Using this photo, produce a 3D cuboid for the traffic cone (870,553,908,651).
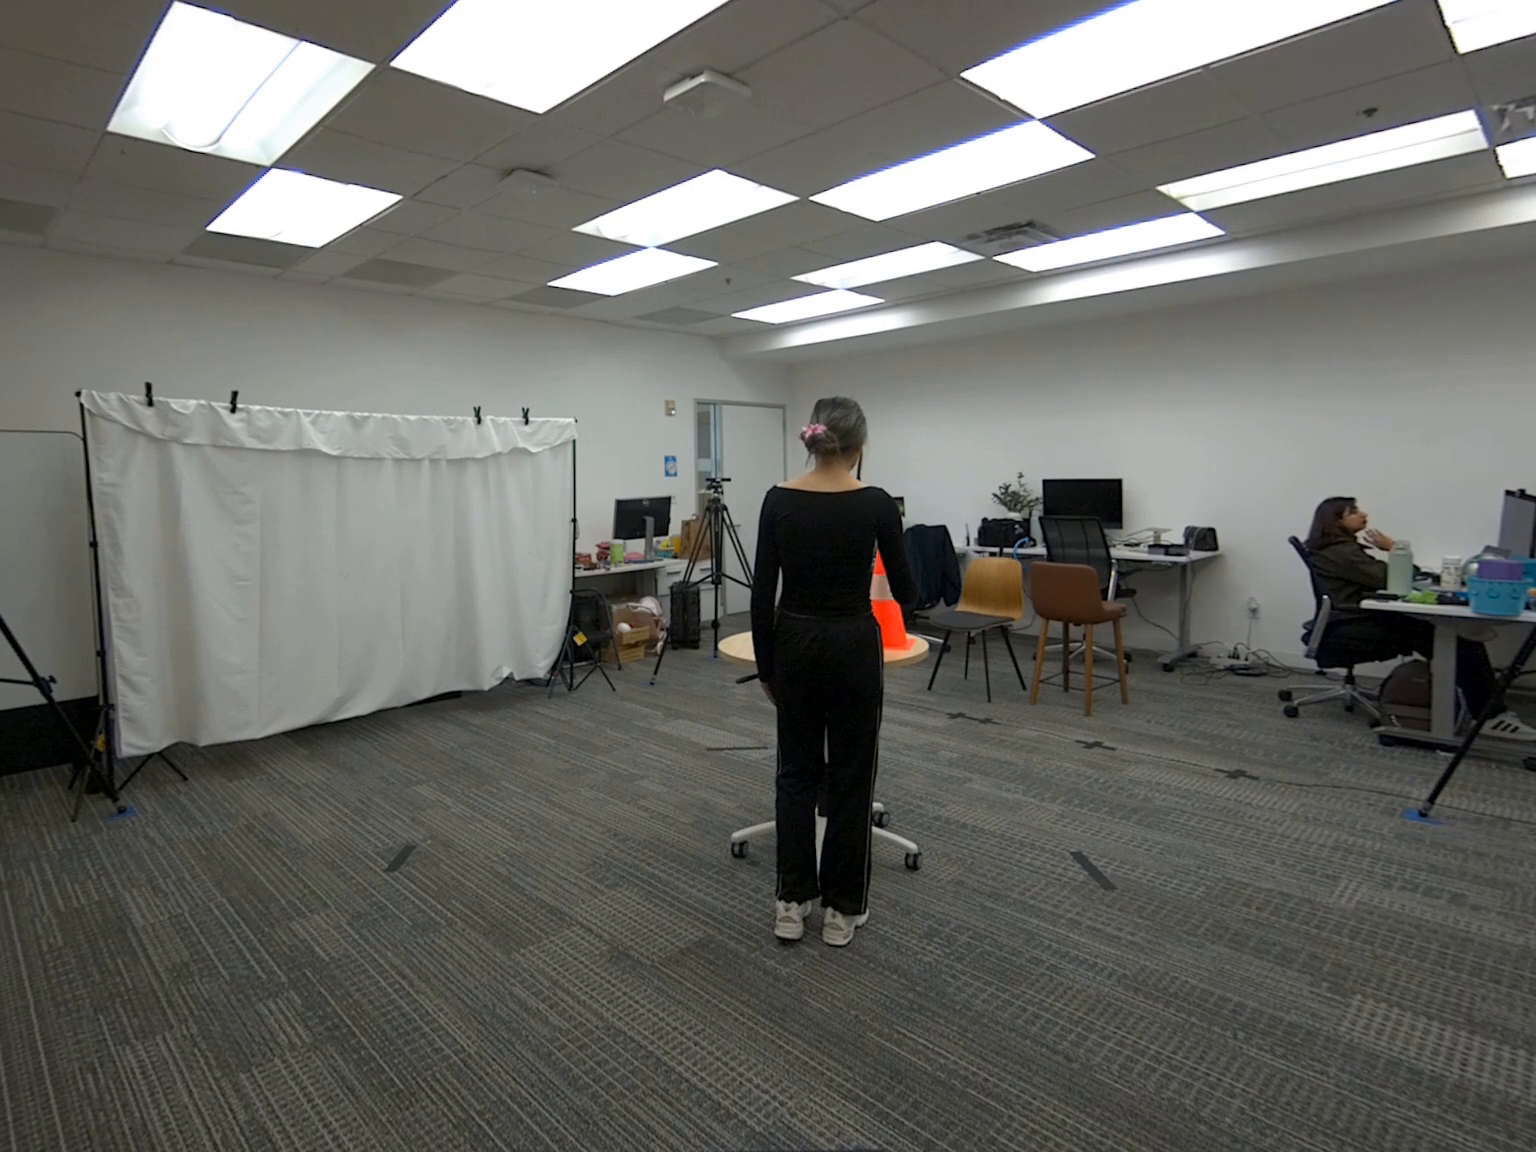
[{"bbox_3d":[0.425,0.061,3.086,0.208,0.382,0.201,2,6,16],"label":"traffic cone"}]
